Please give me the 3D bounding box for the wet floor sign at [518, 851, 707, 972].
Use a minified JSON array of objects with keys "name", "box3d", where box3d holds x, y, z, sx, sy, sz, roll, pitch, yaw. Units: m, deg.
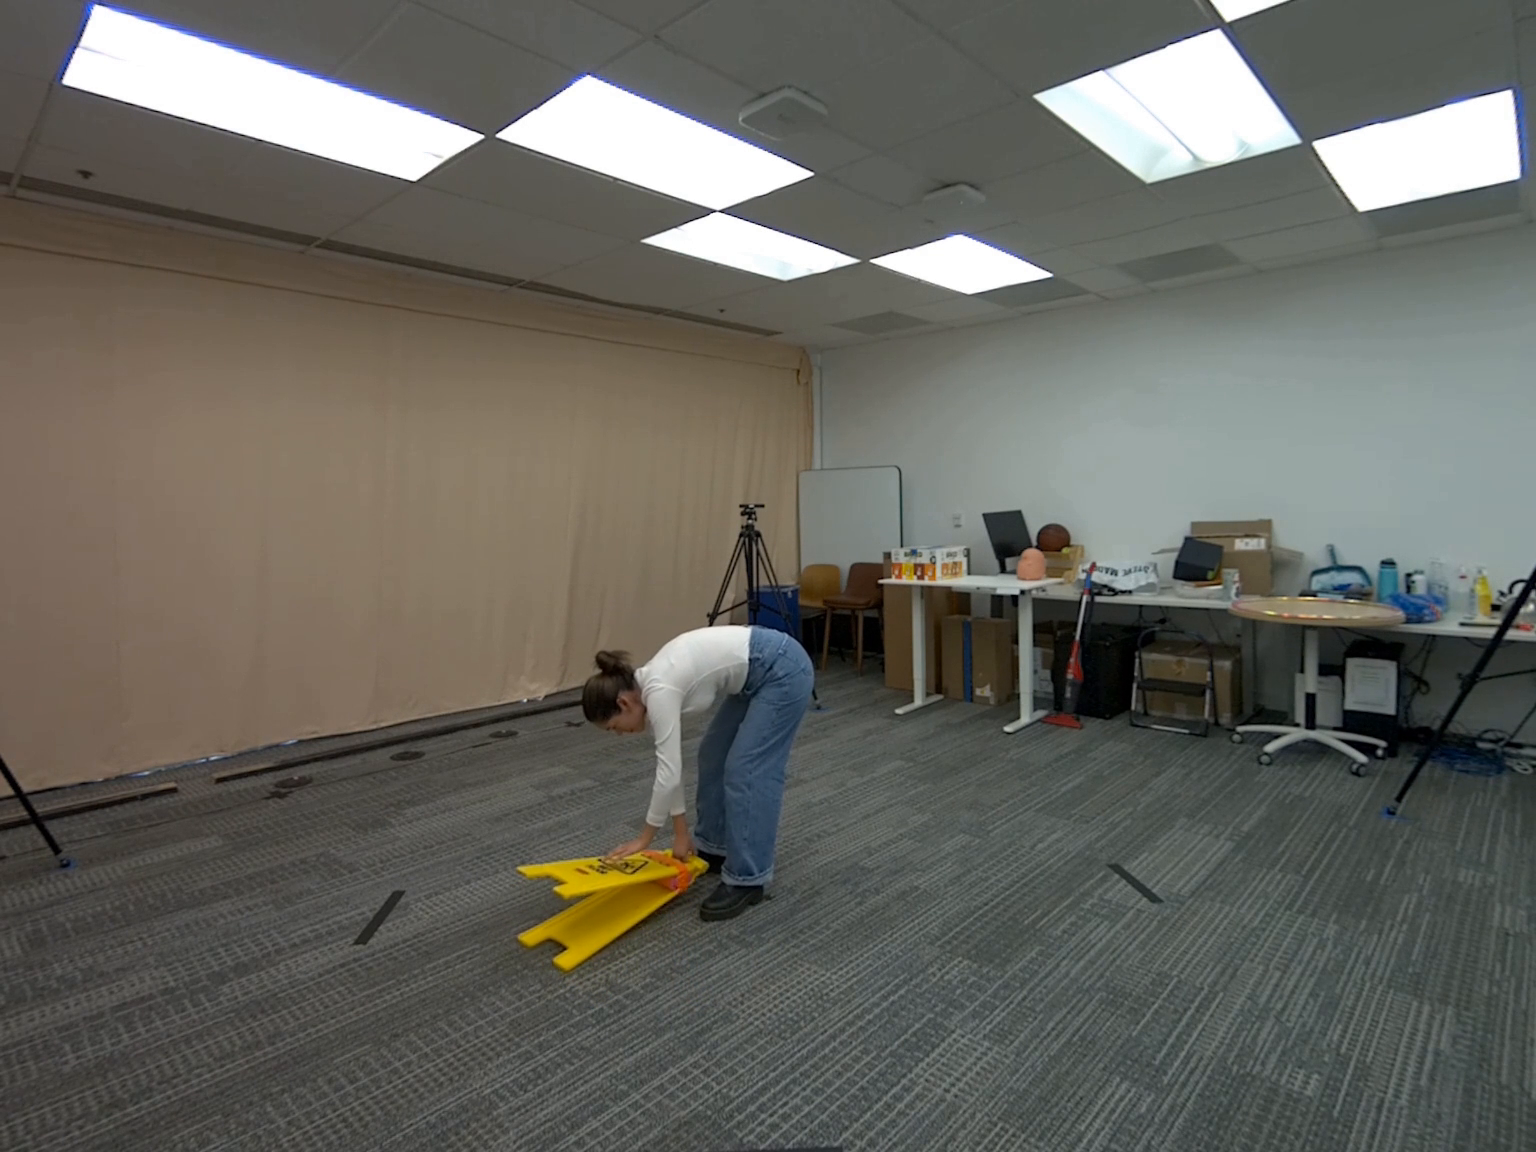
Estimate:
[{"name":"wet floor sign","box3d":[-0.499,1.061,2.841,0.292,0.289,0.626,4,5,43]}]
